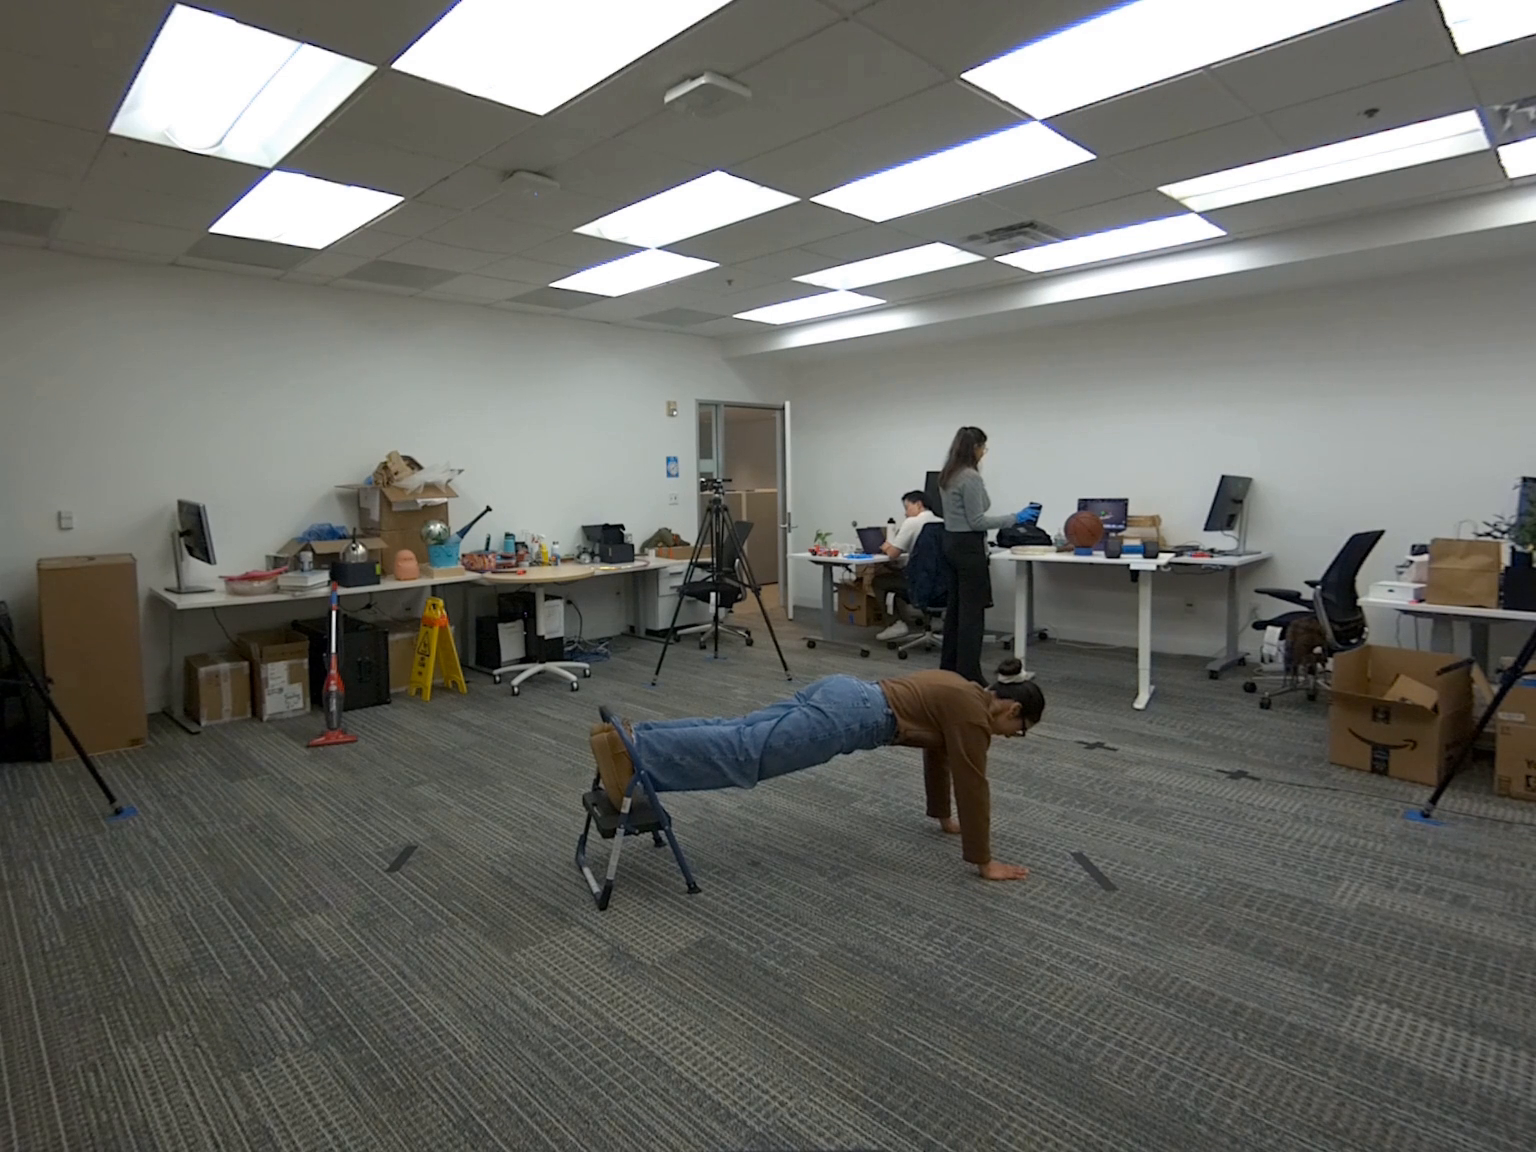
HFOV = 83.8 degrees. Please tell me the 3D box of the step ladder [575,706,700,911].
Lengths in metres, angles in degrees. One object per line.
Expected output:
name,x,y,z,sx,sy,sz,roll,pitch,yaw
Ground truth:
step ladder,-0.475,0.763,3.011,0.342,0.604,0.441,-3,5,-24
